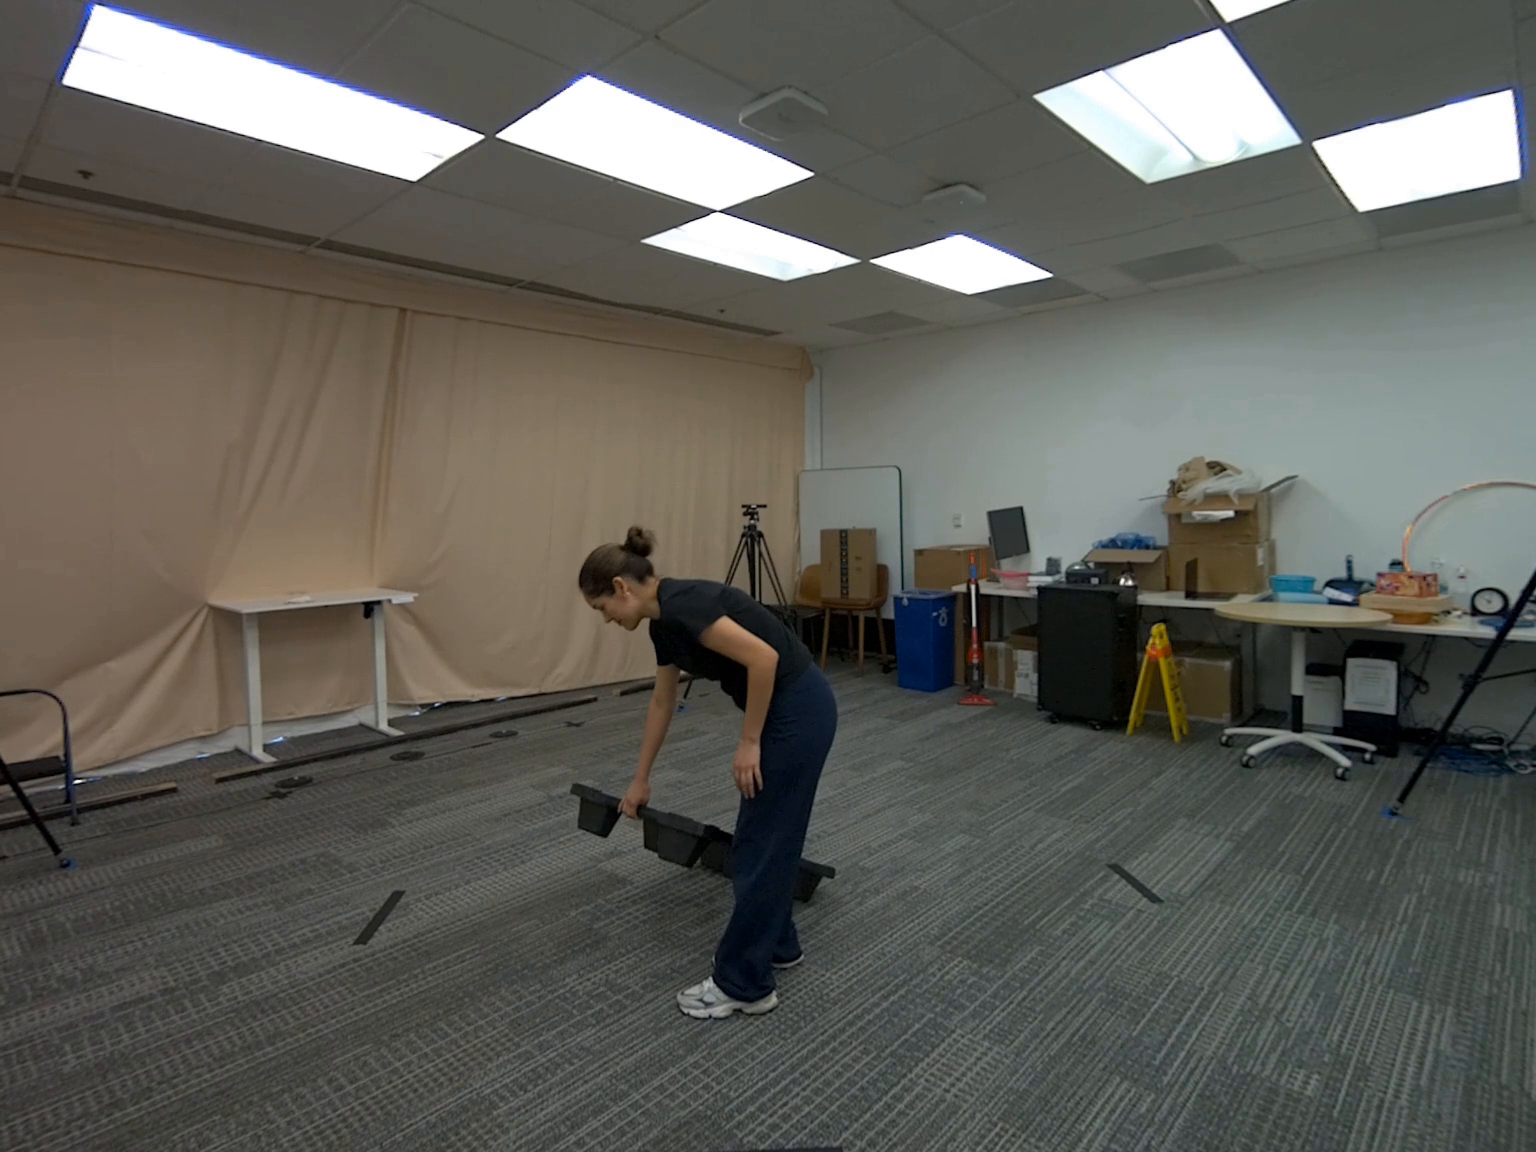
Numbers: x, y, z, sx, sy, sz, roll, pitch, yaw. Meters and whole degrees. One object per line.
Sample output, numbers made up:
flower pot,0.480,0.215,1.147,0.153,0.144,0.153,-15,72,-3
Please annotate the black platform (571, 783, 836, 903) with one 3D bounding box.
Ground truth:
black platform,-0.209,0.927,2.868,0.625,0.144,0.776,4,-23,39
